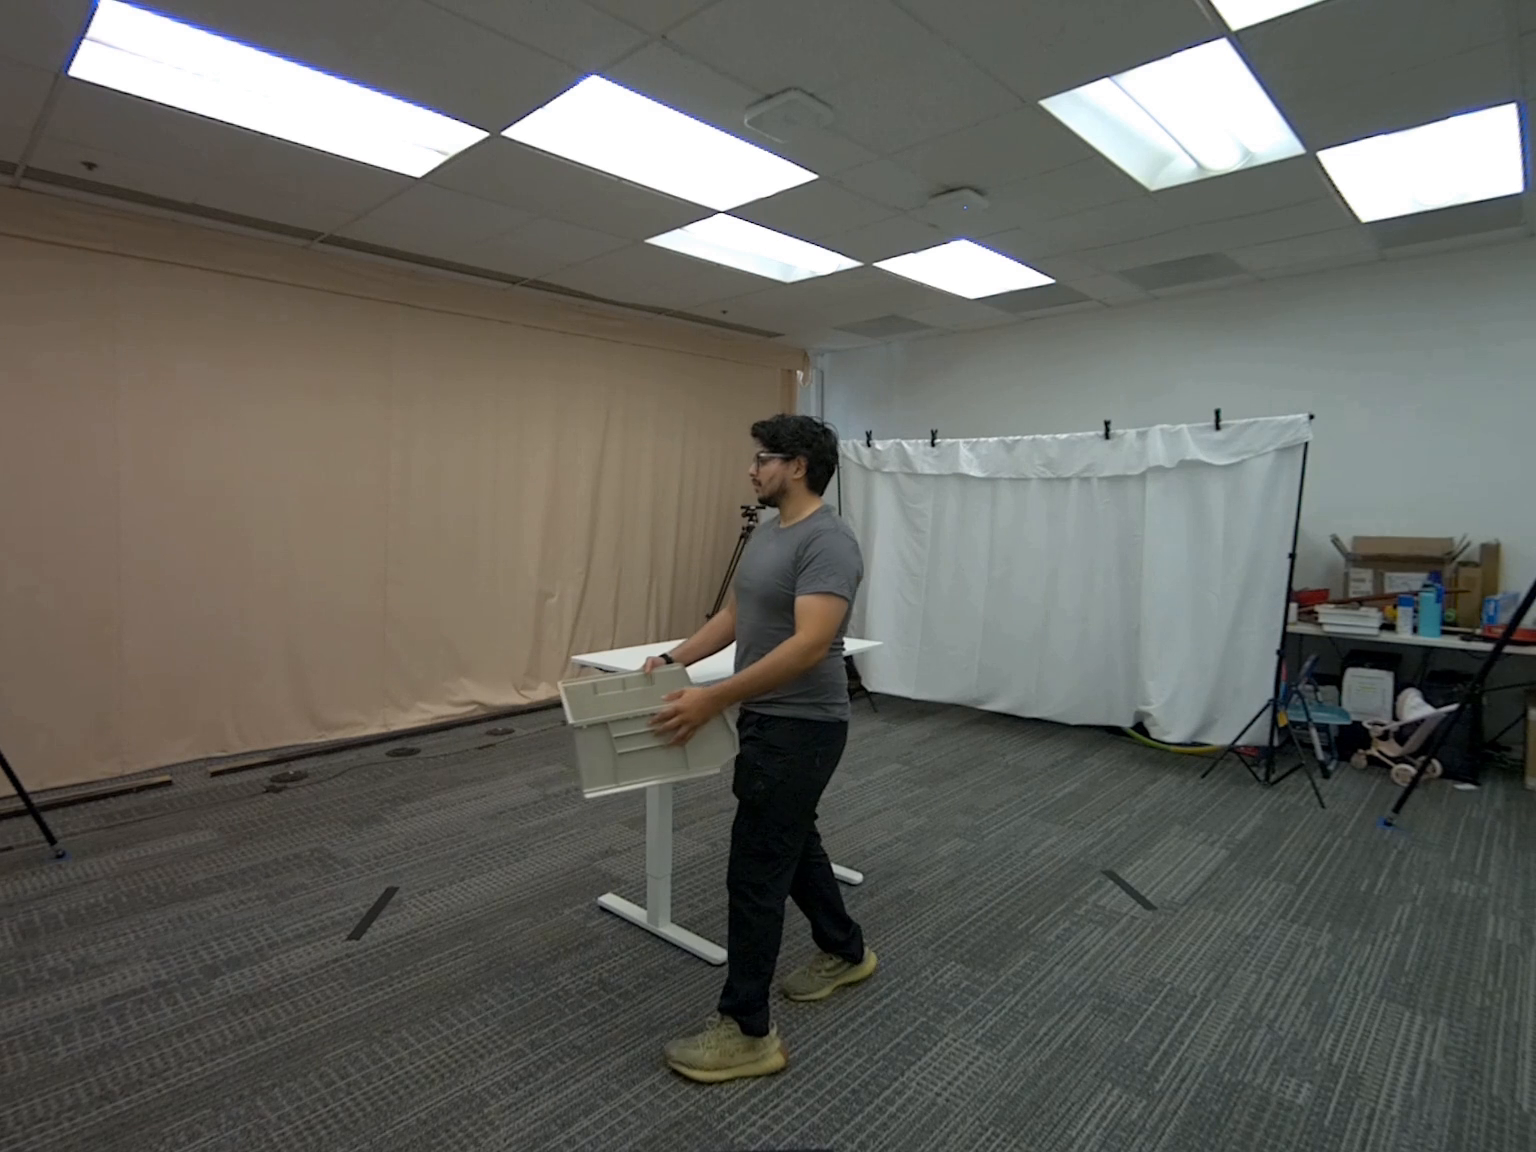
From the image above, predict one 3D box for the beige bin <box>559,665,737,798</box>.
[{"bbox_3d":[-0.306,0.358,2.096,0.372,0.188,0.430,-9,8,-16],"label":"beige bin"}]
